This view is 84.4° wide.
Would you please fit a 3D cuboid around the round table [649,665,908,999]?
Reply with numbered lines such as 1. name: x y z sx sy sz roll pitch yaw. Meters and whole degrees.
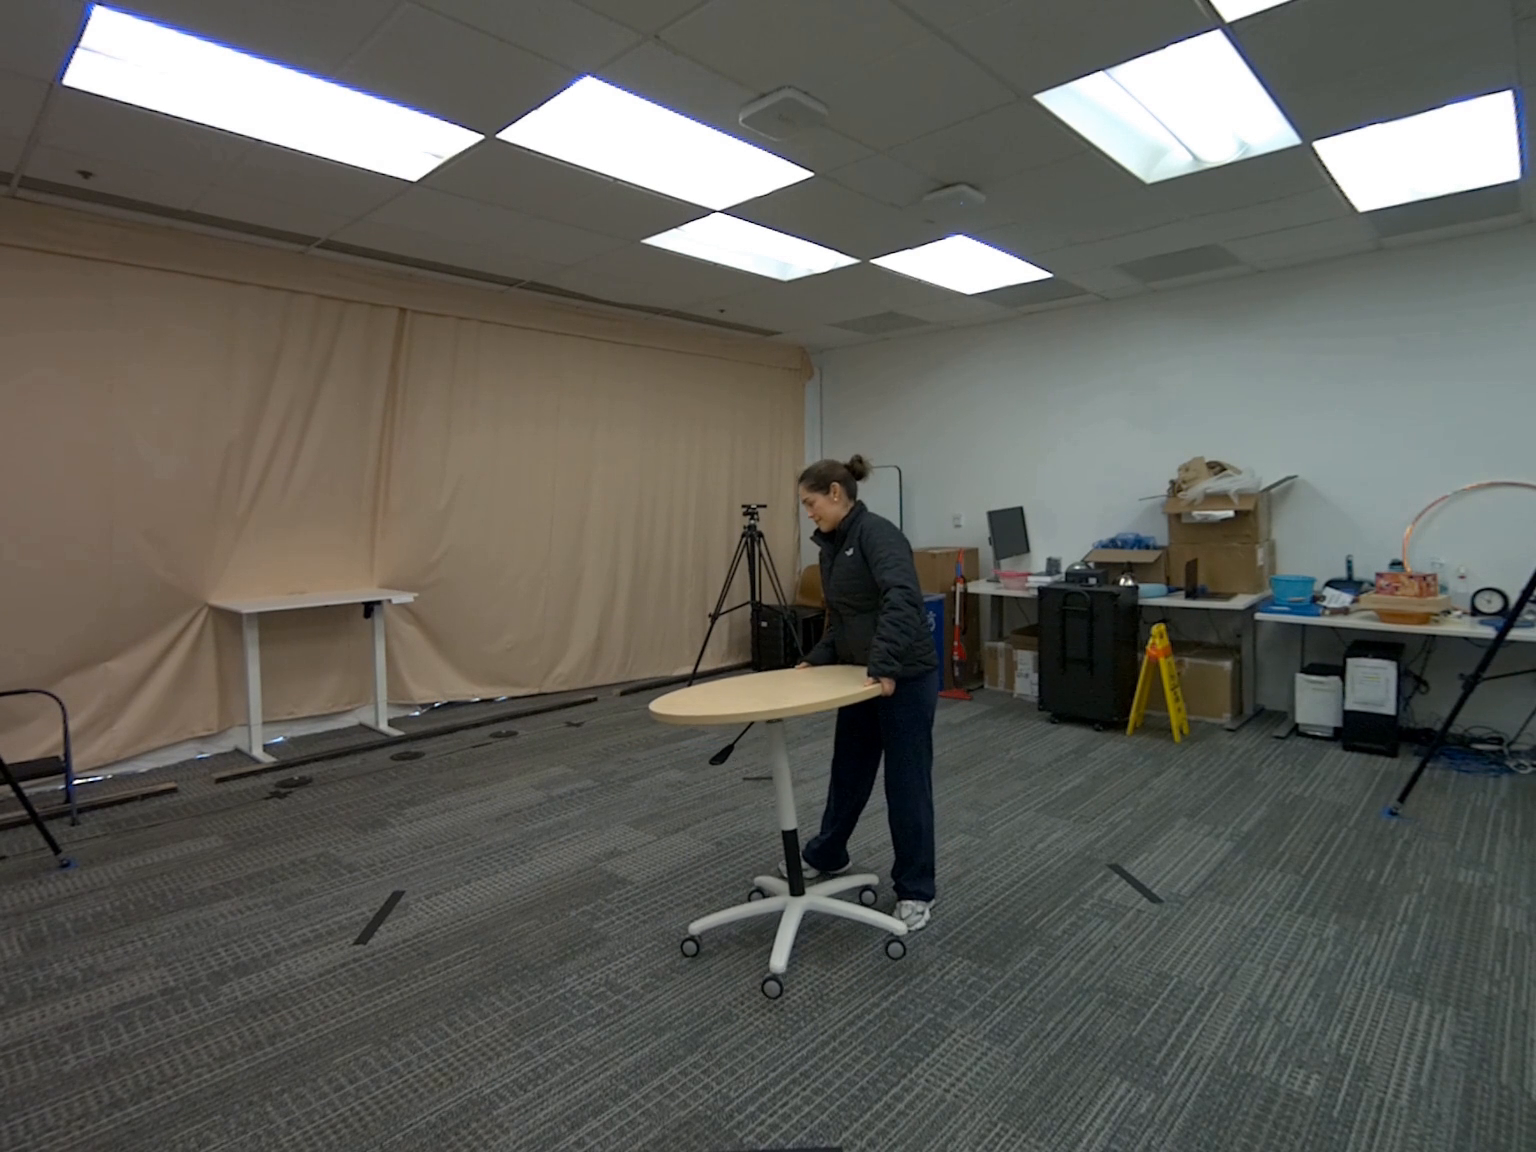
1. round table: 0.081 0.740 2.635 0.784 0.787 0.786 -8 0 -2
